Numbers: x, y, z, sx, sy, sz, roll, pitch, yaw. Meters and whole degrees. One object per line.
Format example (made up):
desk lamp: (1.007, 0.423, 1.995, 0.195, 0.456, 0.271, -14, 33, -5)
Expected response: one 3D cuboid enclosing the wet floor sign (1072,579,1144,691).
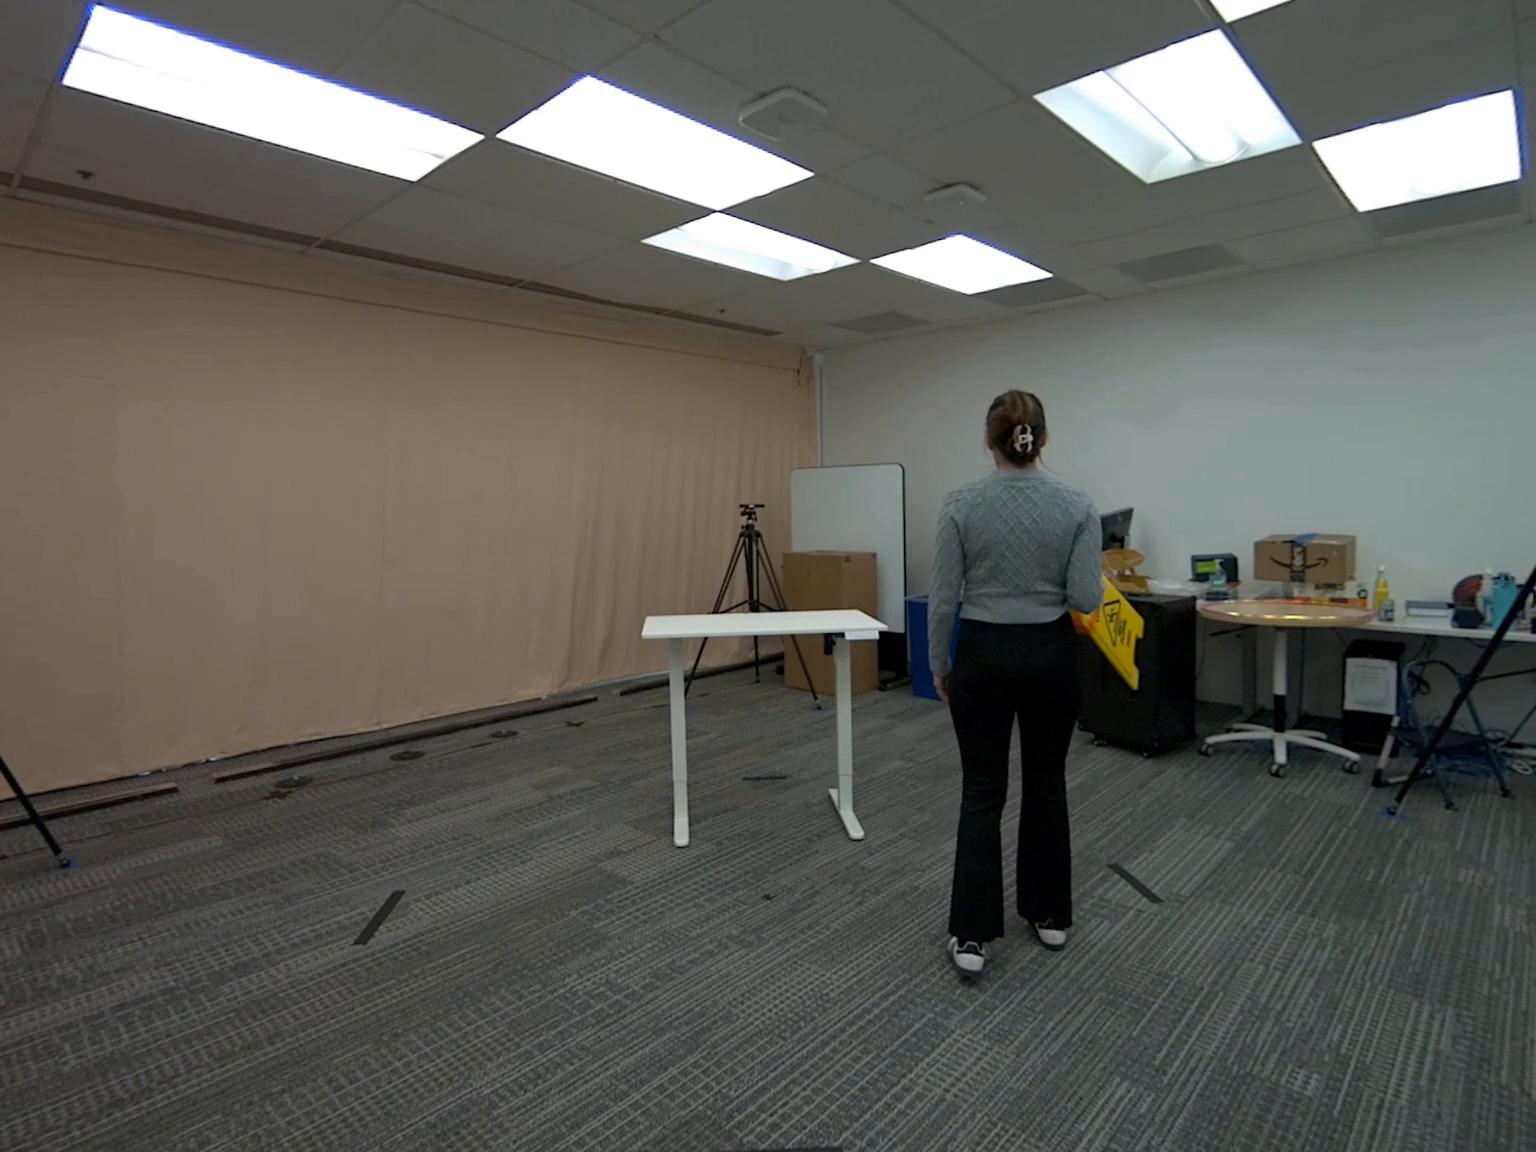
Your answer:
wet floor sign: (1.136, 0.155, 2.977, 0.298, 0.284, 0.623, 3, -25, 30)
